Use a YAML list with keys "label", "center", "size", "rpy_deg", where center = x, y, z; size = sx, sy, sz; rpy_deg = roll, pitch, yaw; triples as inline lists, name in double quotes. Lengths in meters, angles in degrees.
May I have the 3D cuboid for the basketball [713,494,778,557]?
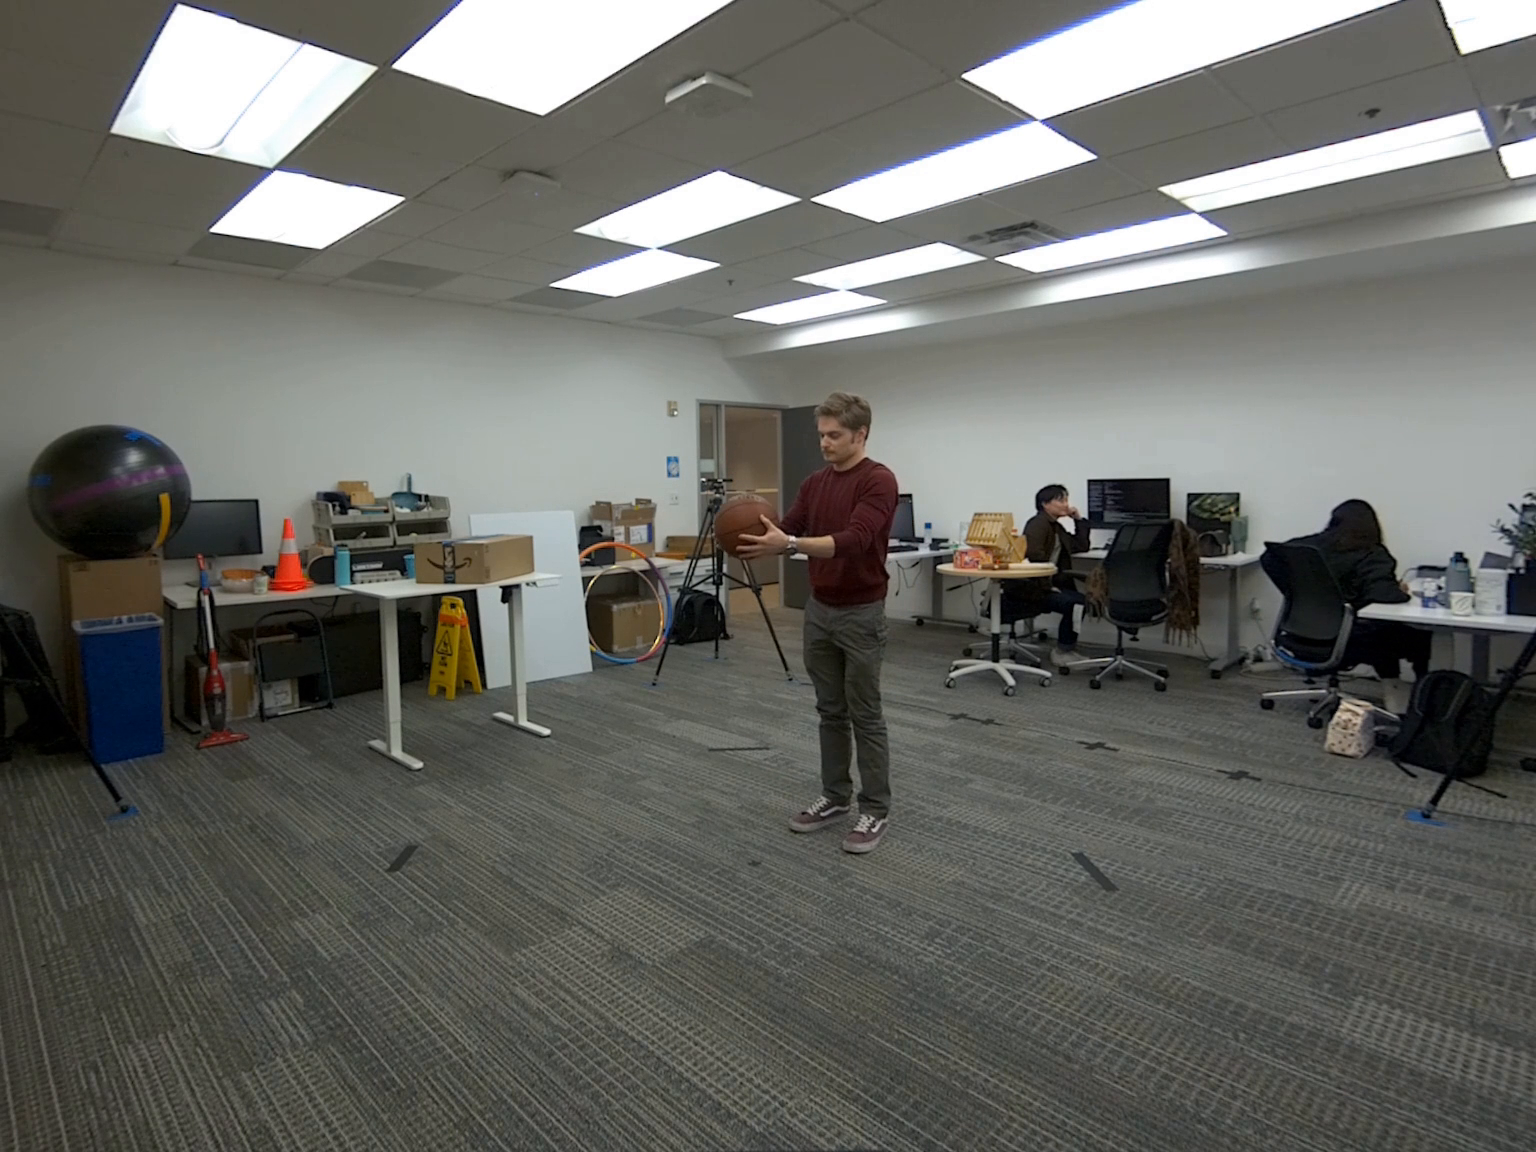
- label: "basketball"
  center: [-0.076, -0.181, 3.081]
  size: [0.236, 0.235, 0.237]
  rpy_deg: [-1, 5, -2]
